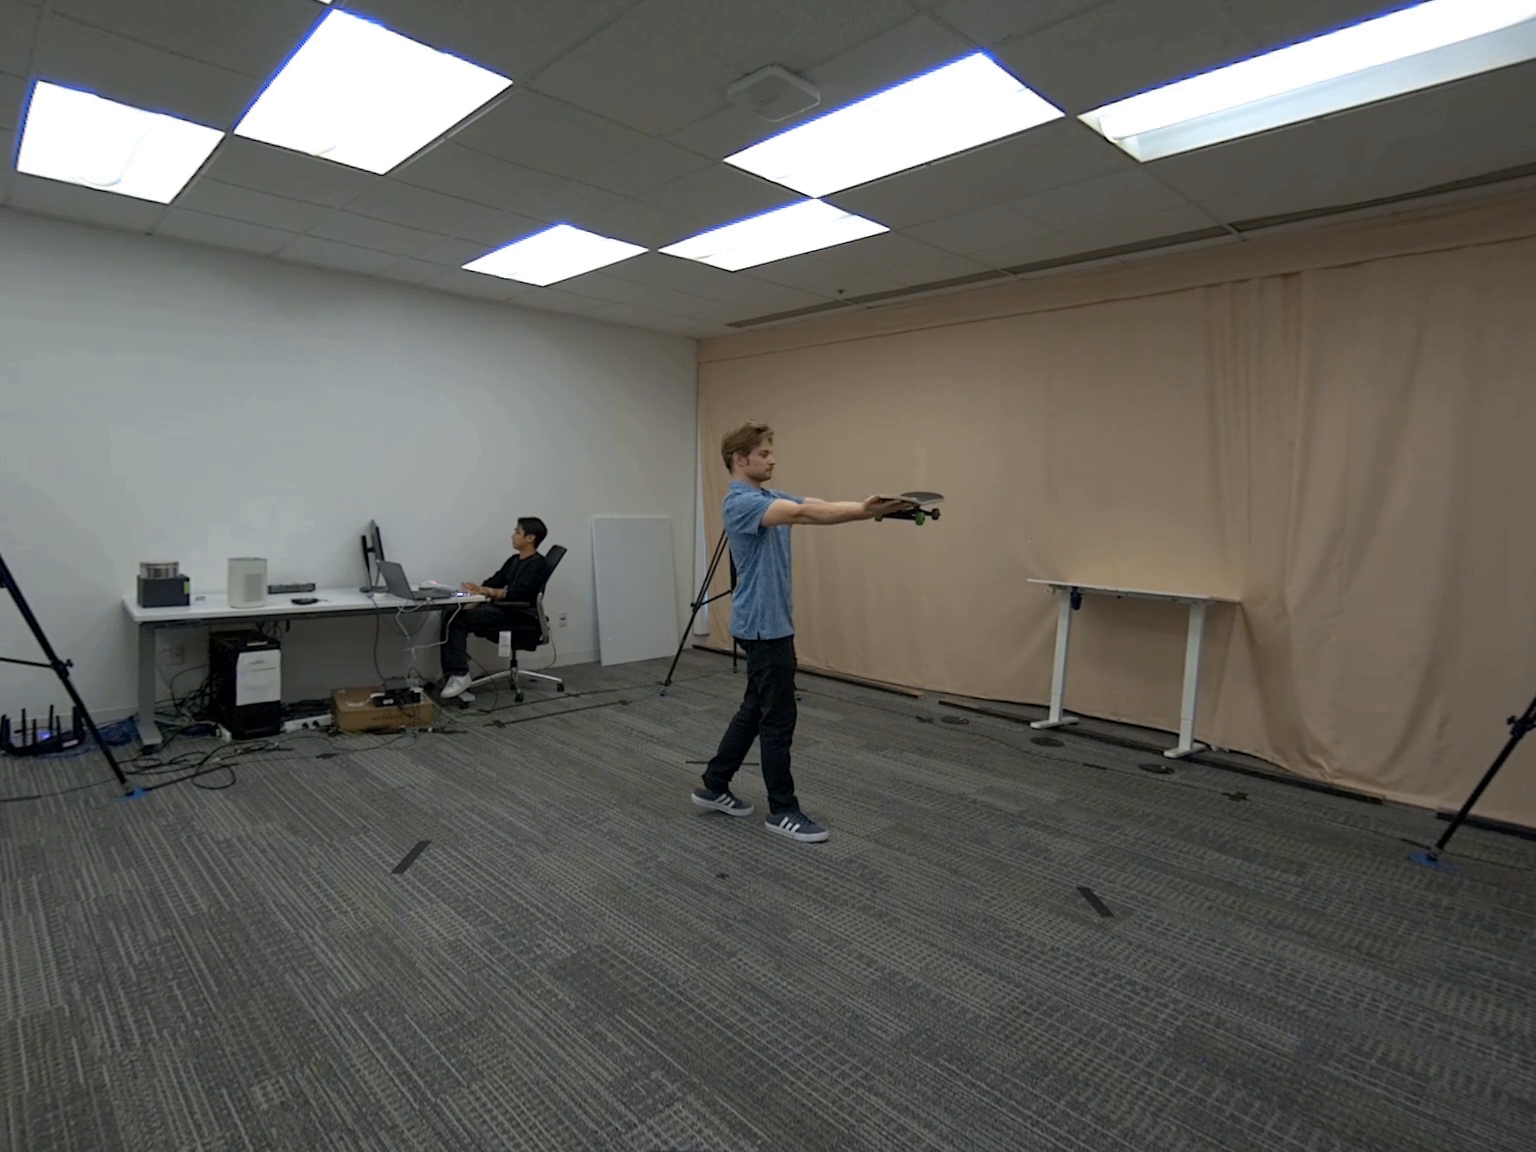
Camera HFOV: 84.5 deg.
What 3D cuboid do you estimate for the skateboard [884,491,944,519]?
[{"bbox_3d":[0.544,-0.270,3.337,0.196,0.110,0.776,7,9,18],"label":"skateboard"}]
